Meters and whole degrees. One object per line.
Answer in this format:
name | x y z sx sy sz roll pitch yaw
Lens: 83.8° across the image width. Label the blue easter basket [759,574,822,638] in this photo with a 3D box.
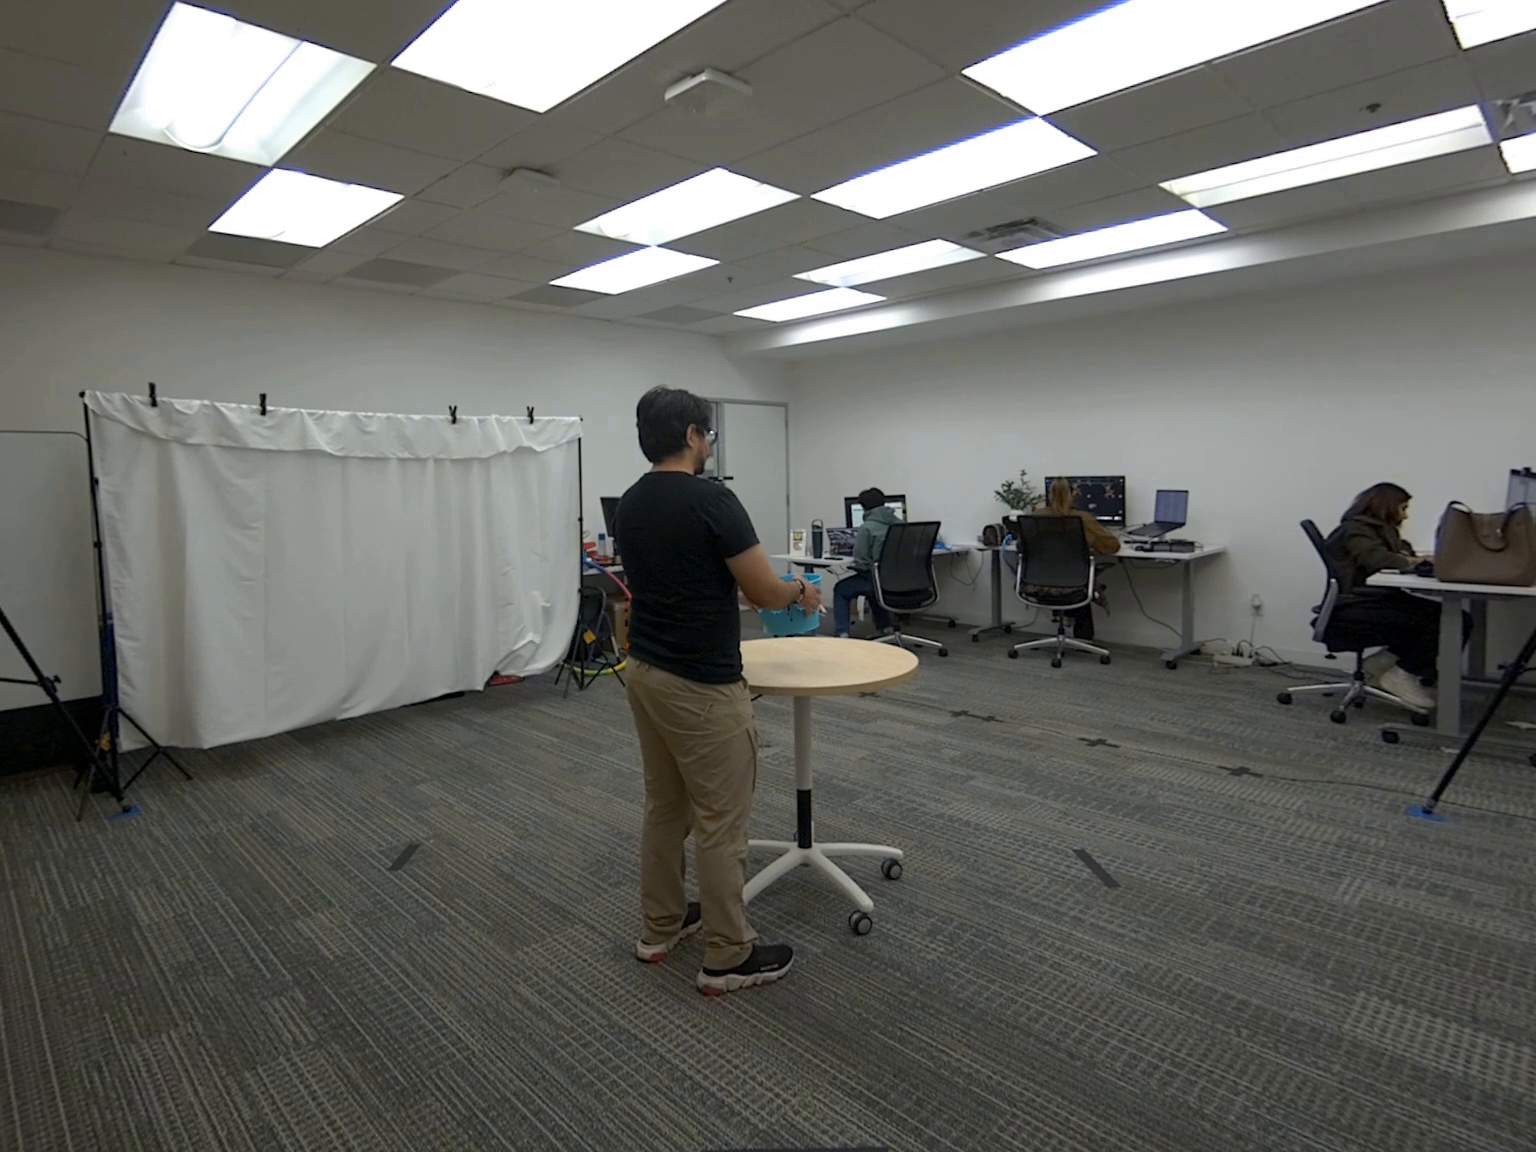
blue easter basket | 0.074 0.093 2.711 0.243 0.155 0.245 -6 8 -1
